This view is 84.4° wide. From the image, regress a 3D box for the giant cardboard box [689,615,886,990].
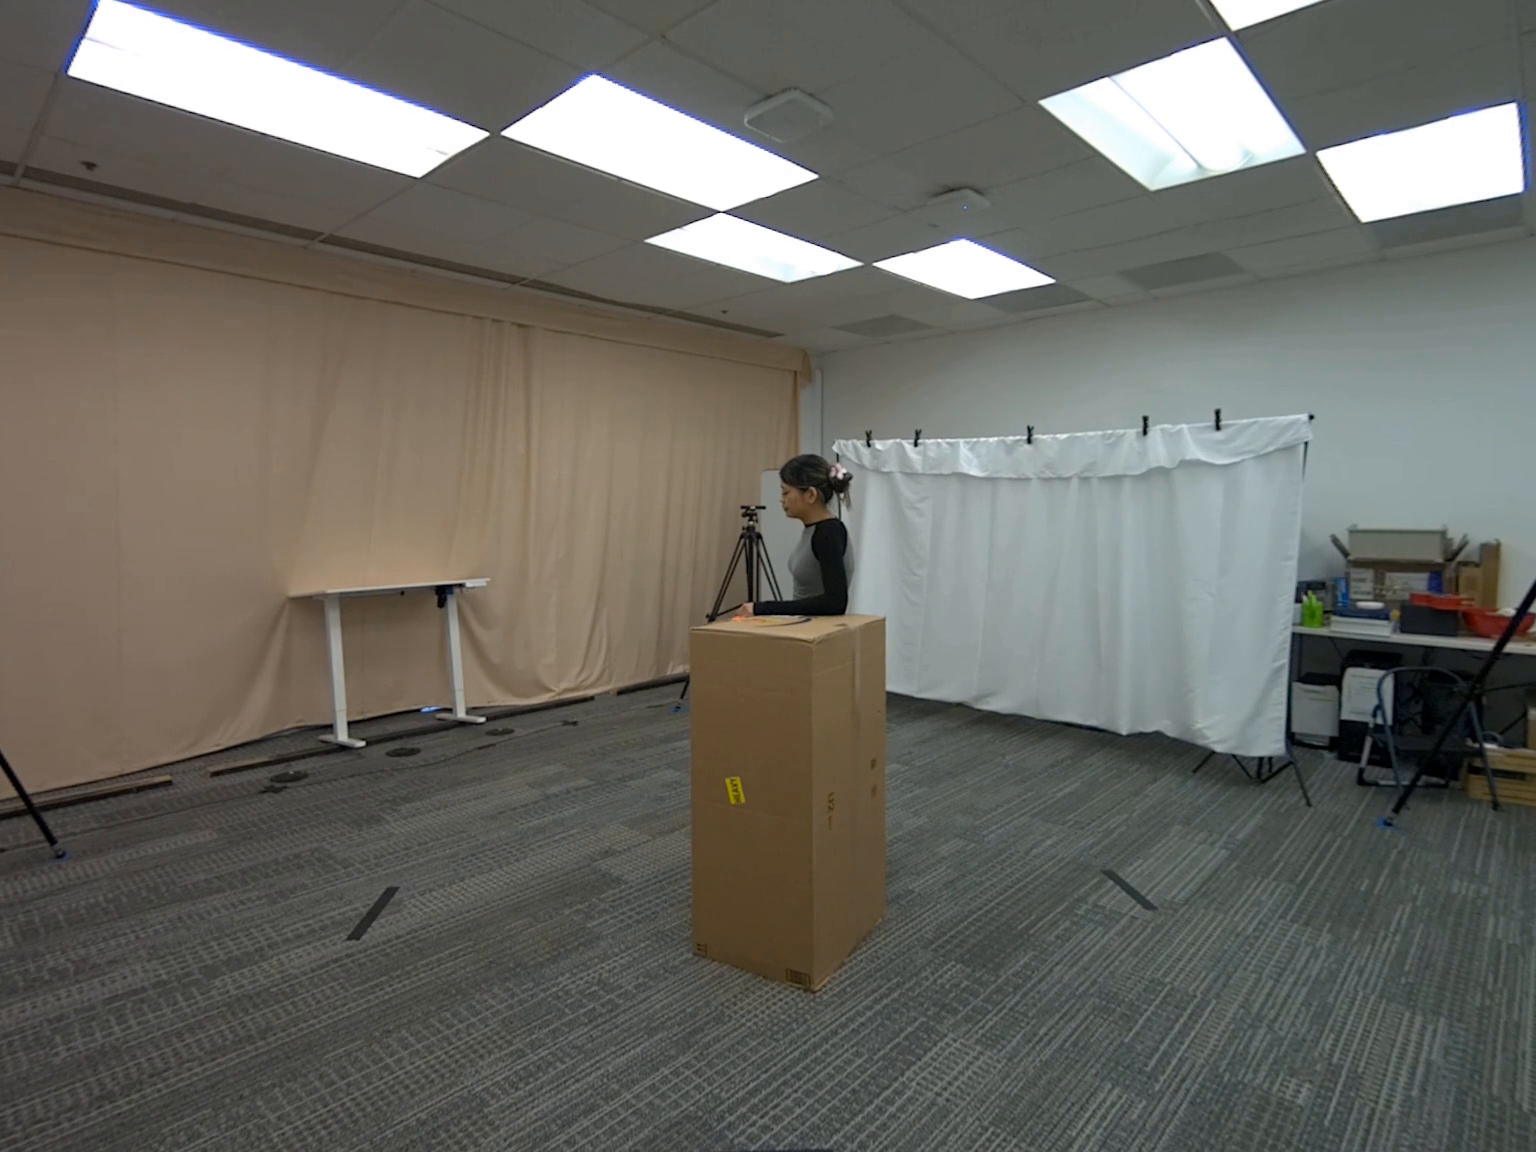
[{"bbox_3d":[0.083,0.657,2.726,0.439,1.024,0.561,2,3,31],"label":"giant cardboard box"}]
